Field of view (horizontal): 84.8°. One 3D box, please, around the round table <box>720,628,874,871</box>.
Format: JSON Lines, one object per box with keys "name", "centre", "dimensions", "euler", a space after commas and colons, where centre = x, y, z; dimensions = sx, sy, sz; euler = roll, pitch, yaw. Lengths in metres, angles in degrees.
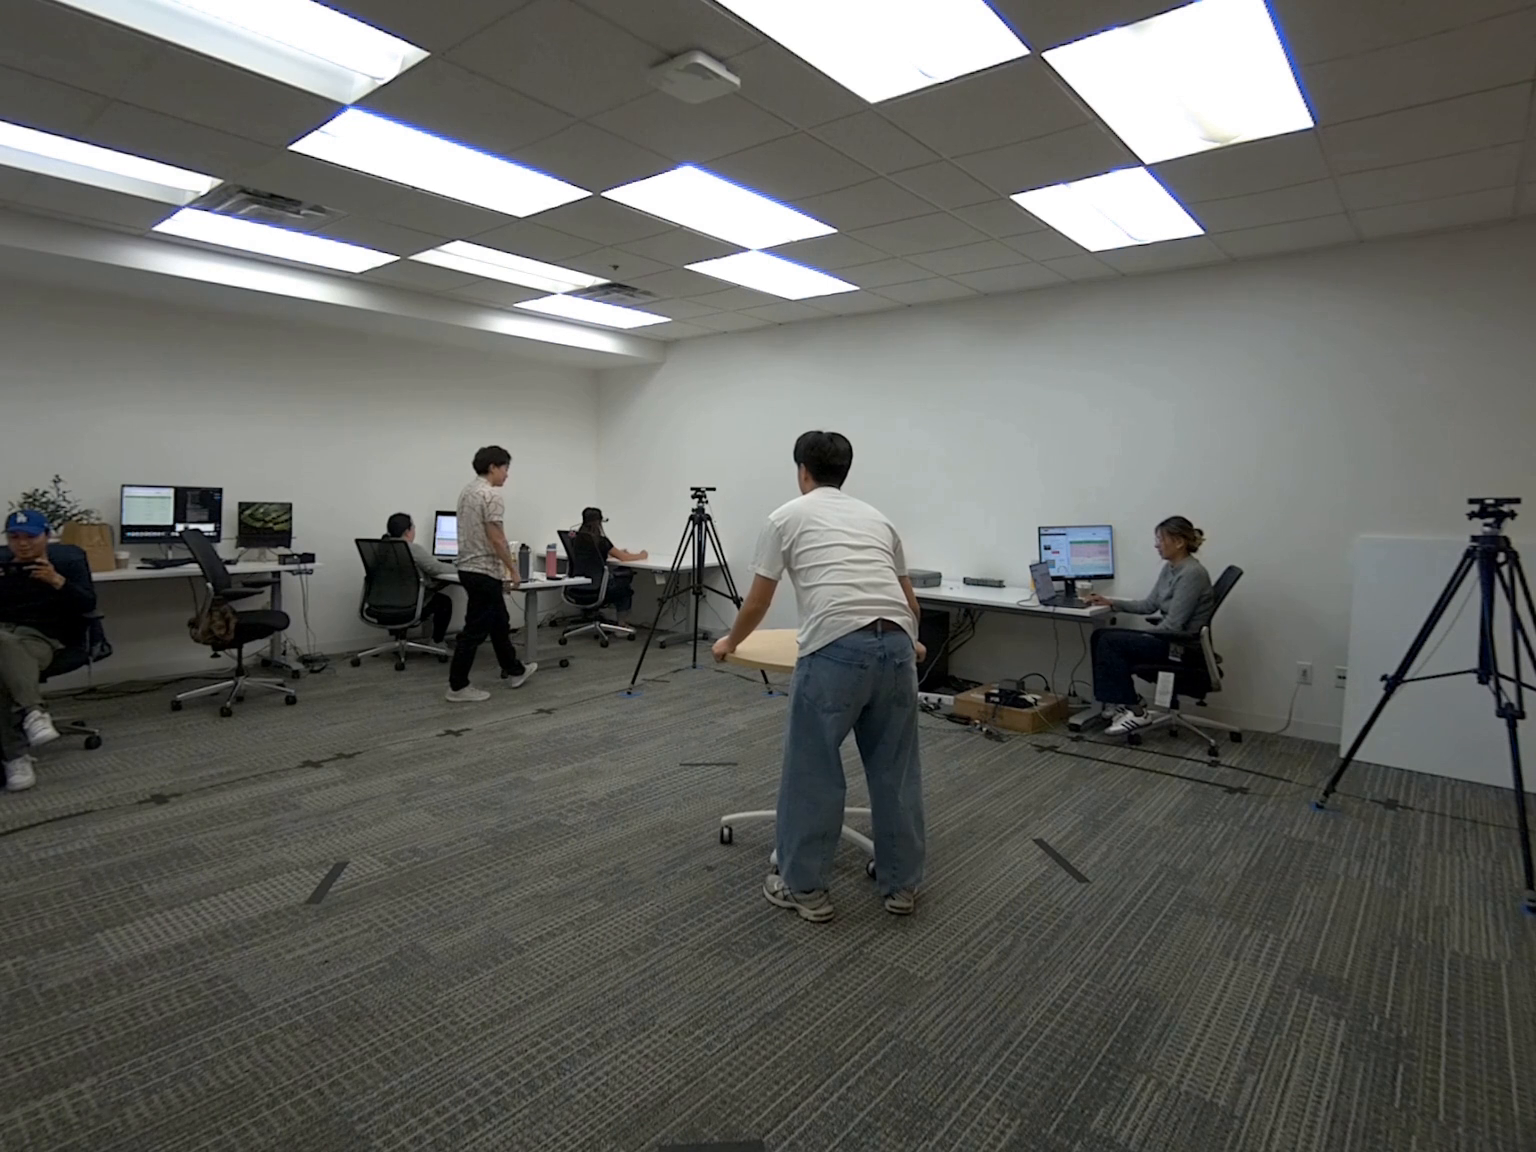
{"name": "round table", "centre": [0.145, 0.652, 3.295], "dimensions": [0.784, 0.784, 0.789], "euler": [1, 4, -2]}
